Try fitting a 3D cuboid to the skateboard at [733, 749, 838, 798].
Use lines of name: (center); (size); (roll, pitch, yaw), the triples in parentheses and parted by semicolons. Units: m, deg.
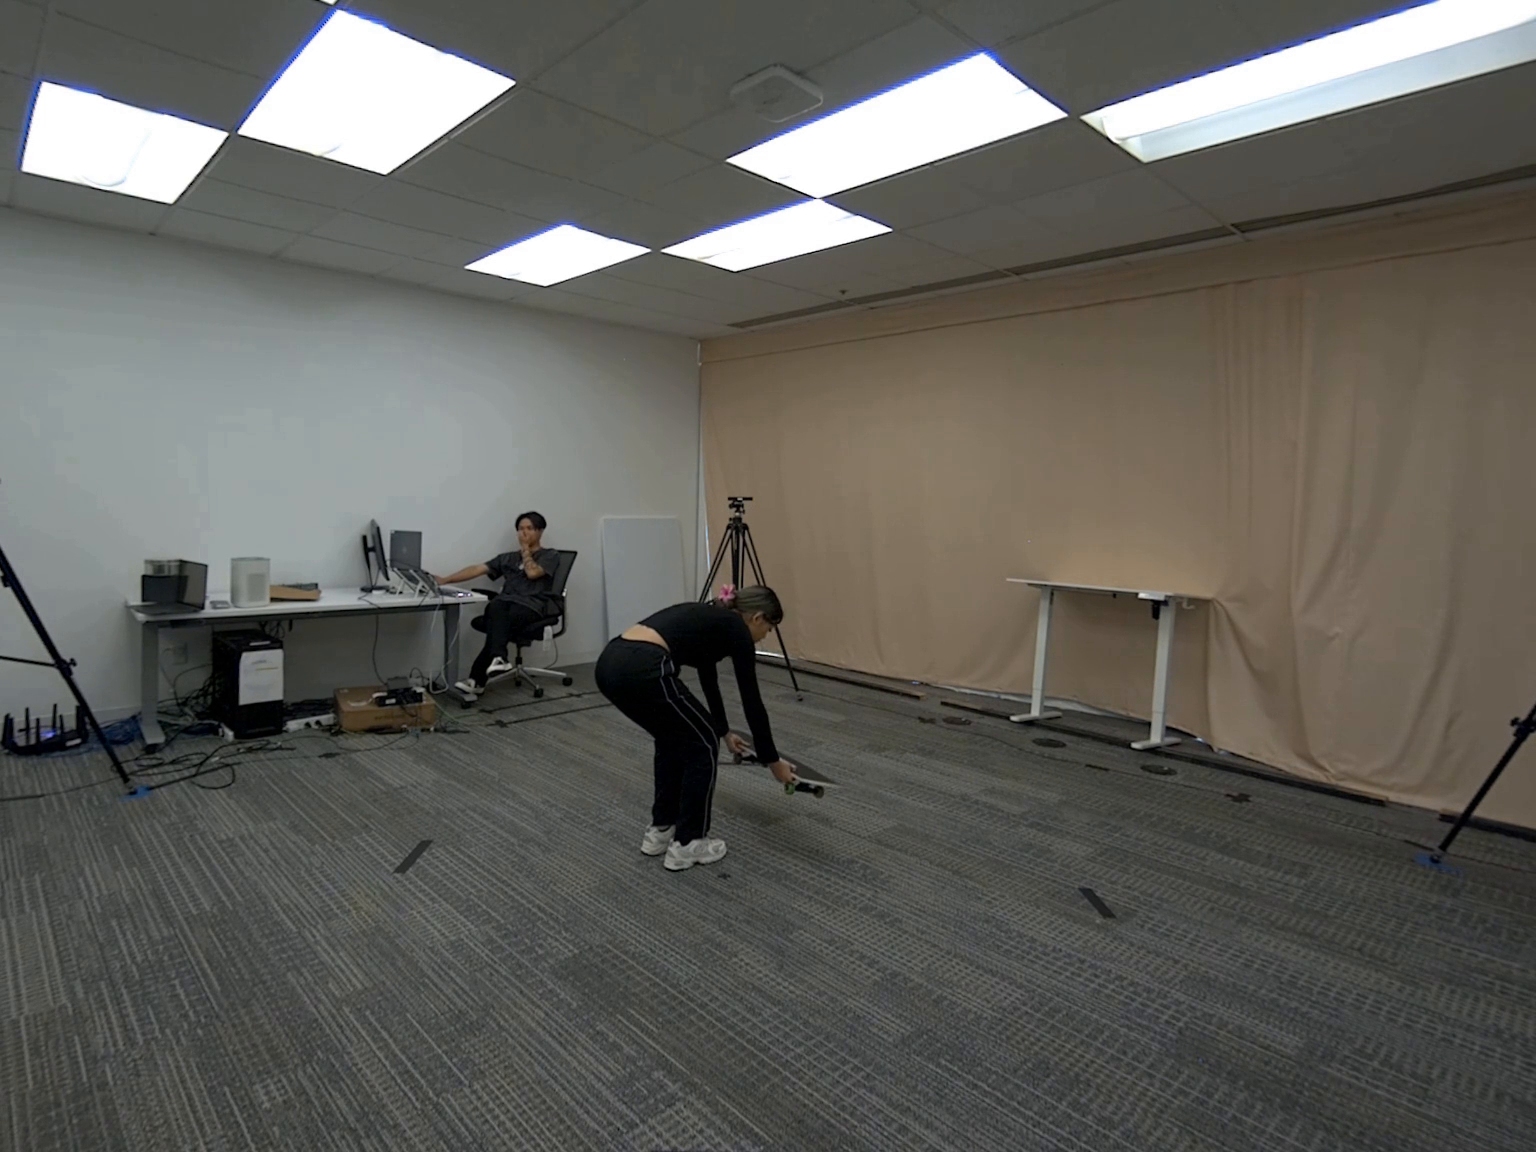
skateboard: (0.048, 0.817, 3.586); (0.188, 0.110, 0.805); (16, -2, -32)
